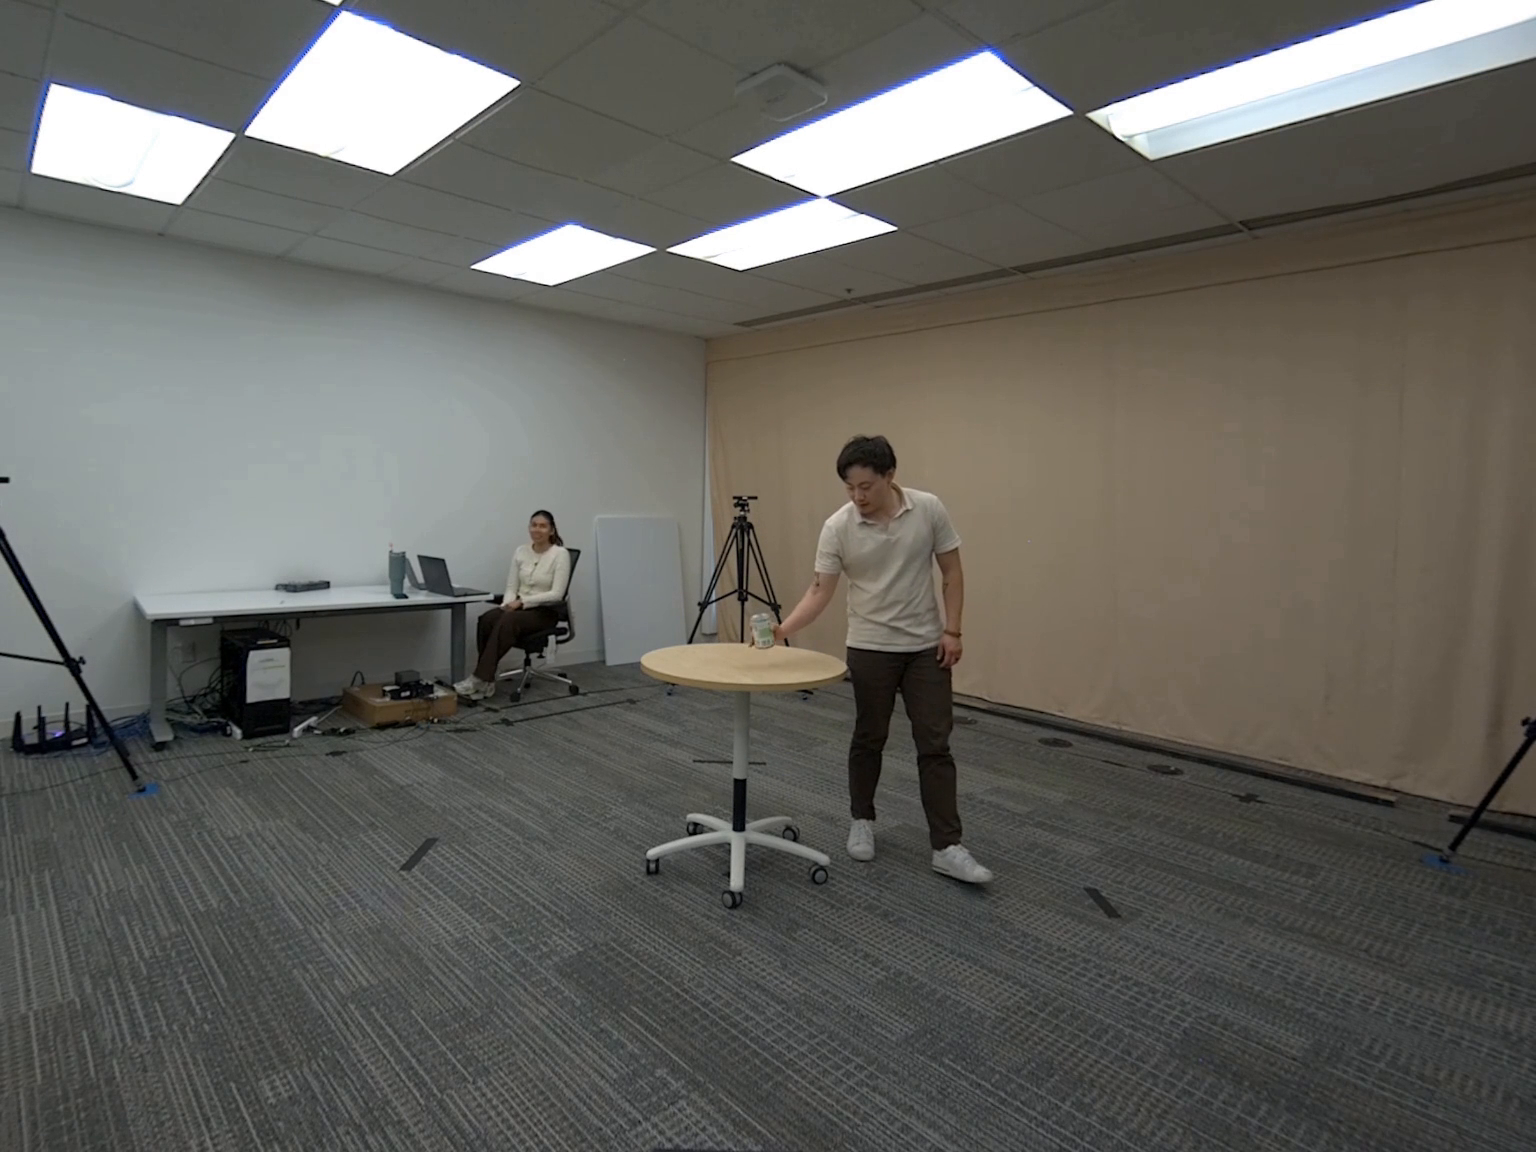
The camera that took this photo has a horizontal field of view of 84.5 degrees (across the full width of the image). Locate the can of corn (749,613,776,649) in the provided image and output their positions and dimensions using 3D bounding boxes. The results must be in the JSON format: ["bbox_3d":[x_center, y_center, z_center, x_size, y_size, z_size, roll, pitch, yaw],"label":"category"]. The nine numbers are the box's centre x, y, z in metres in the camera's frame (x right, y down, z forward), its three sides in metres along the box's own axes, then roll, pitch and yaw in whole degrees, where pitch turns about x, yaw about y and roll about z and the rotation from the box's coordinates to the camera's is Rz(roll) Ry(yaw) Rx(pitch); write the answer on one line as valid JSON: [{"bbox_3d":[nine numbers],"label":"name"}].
[{"bbox_3d":[-0.027,0.200,3.017,0.074,0.110,0.075,-7,9,0],"label":"can of corn"}]
